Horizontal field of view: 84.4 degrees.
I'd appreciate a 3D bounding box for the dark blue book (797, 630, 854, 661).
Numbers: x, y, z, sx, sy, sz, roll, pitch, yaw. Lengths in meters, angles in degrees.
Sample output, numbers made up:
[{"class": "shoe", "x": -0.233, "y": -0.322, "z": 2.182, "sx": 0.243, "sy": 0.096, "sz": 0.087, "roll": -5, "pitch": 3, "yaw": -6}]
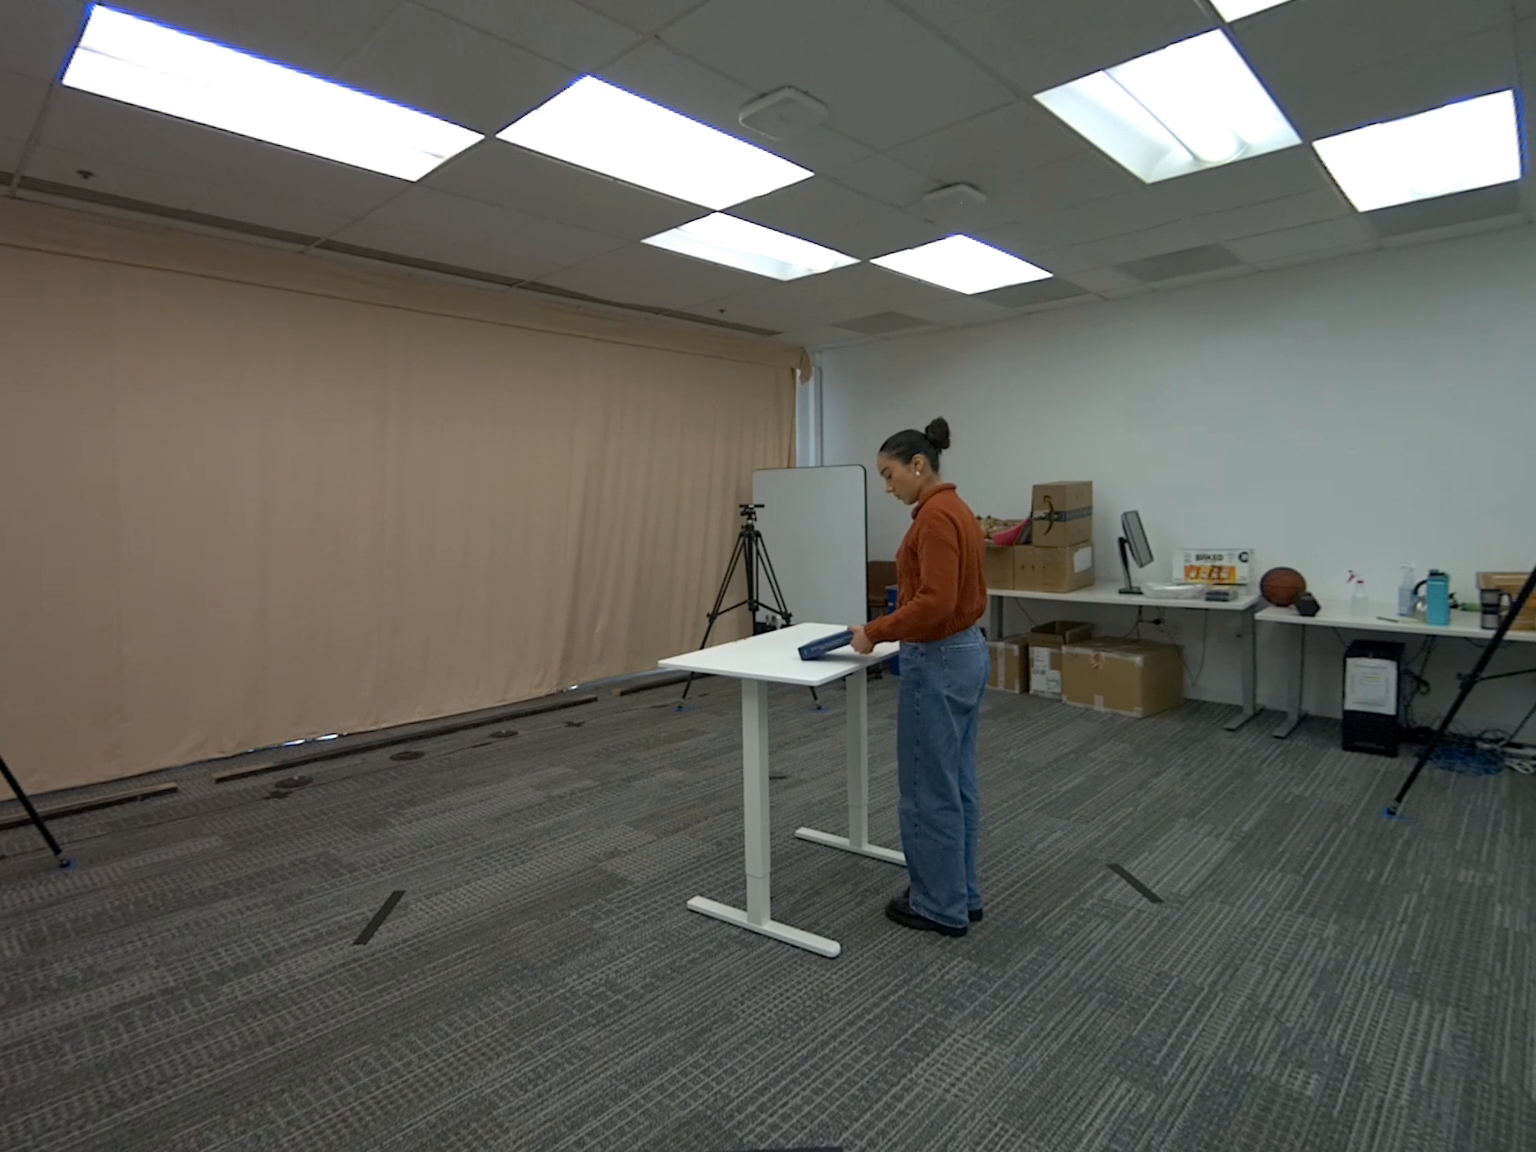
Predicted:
[{"class": "dark blue book", "x": 0.240, "y": 0.216, "z": 2.767, "sx": 0.249, "sy": 0.045, "sz": 0.160, "roll": -20, "pitch": -3, "yaw": 20}]
